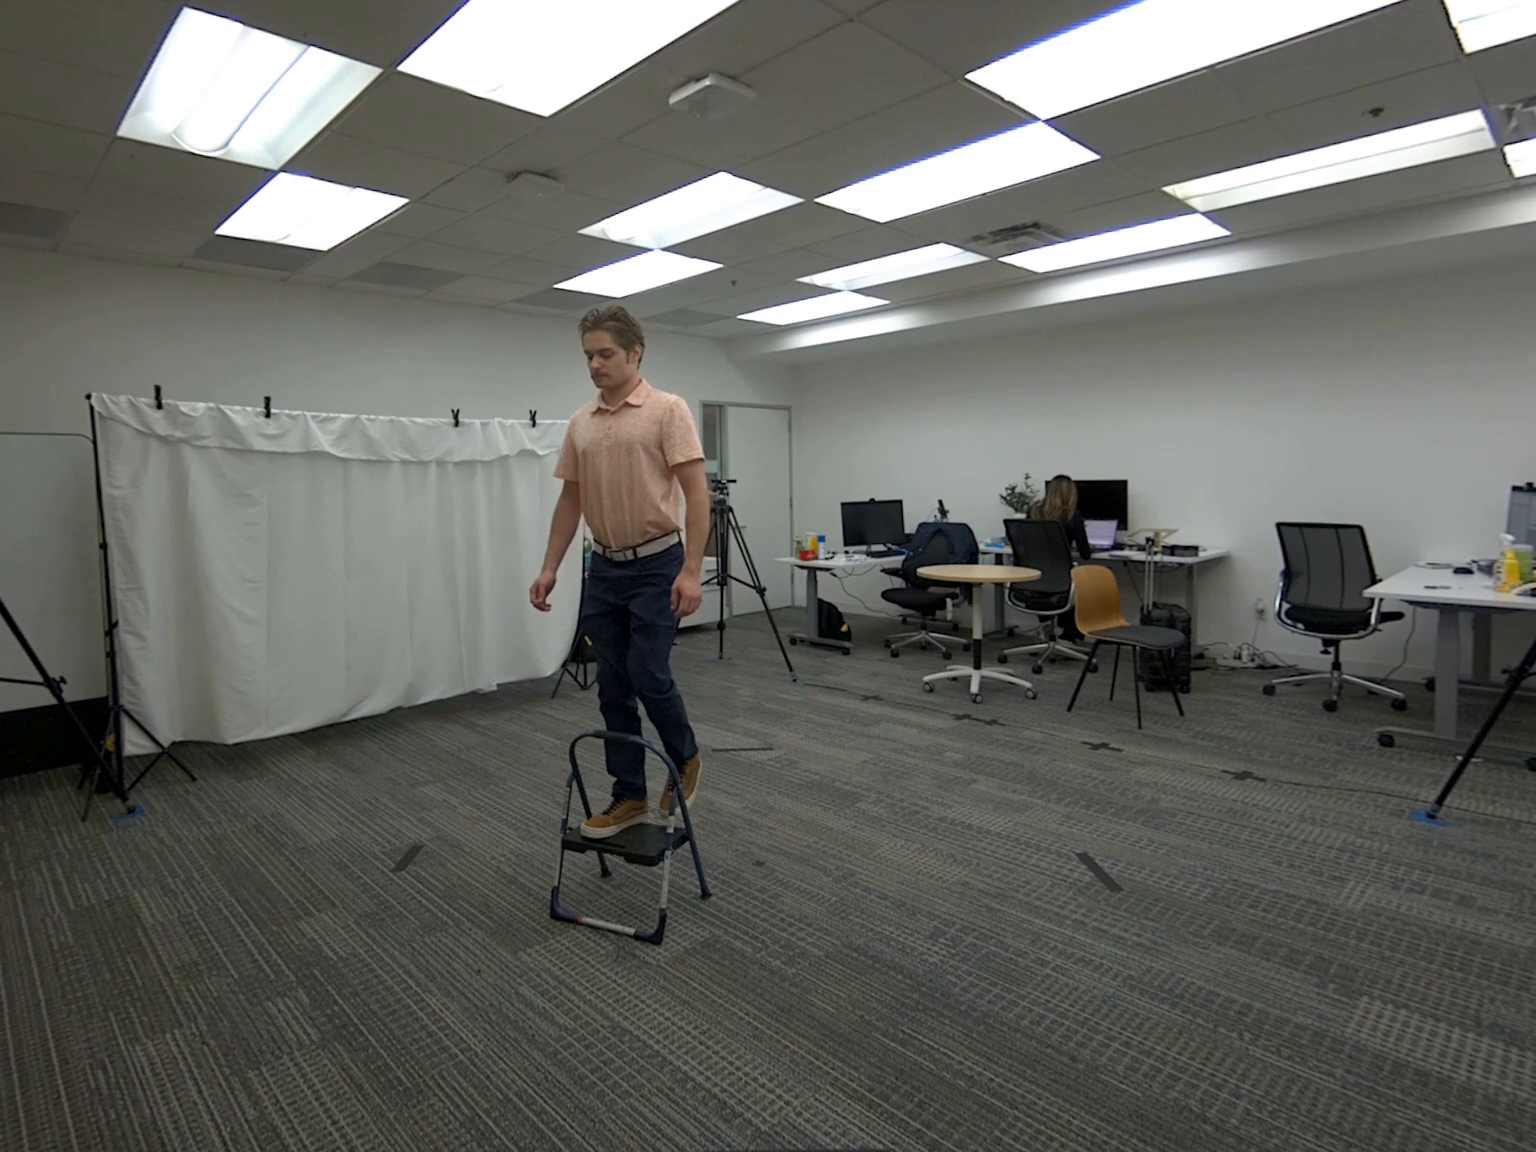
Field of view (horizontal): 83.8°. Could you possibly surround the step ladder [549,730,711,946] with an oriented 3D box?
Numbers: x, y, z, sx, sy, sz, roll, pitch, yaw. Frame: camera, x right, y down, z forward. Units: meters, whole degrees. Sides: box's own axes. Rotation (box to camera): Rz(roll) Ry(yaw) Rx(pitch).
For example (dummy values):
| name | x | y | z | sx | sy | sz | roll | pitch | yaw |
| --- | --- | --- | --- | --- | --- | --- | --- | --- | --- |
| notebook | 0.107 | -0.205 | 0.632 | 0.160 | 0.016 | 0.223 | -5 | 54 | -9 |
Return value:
| name | x | y | z | sx | sy | sz | roll | pitch | yaw |
| --- | --- | --- | --- | --- | --- | --- | --- | --- | --- |
| step ladder | -0.455 | 0.791 | 2.793 | 0.440 | 0.603 | 0.343 | 1 | 5 | 24 |
